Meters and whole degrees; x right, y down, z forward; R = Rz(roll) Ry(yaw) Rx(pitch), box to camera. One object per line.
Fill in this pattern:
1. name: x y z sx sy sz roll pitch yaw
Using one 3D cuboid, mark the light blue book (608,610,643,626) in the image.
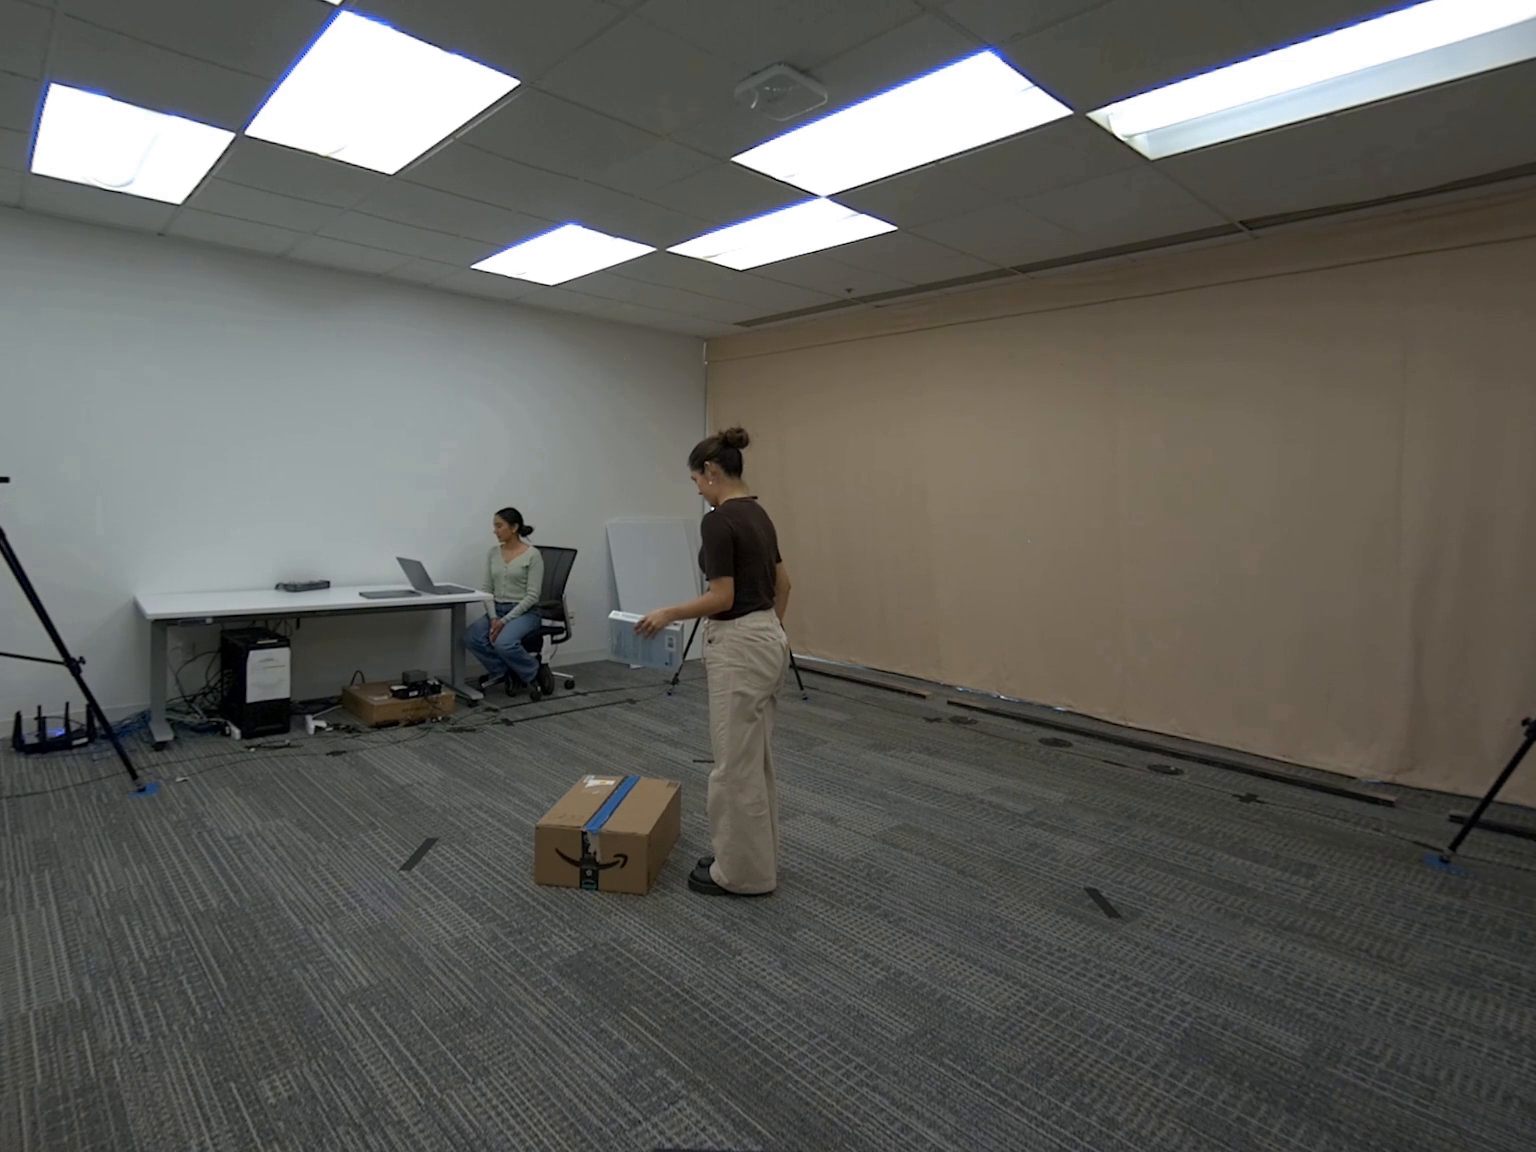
1. light blue book: -0.431 0.227 2.988 0.263 0.188 0.059 6 24 7
